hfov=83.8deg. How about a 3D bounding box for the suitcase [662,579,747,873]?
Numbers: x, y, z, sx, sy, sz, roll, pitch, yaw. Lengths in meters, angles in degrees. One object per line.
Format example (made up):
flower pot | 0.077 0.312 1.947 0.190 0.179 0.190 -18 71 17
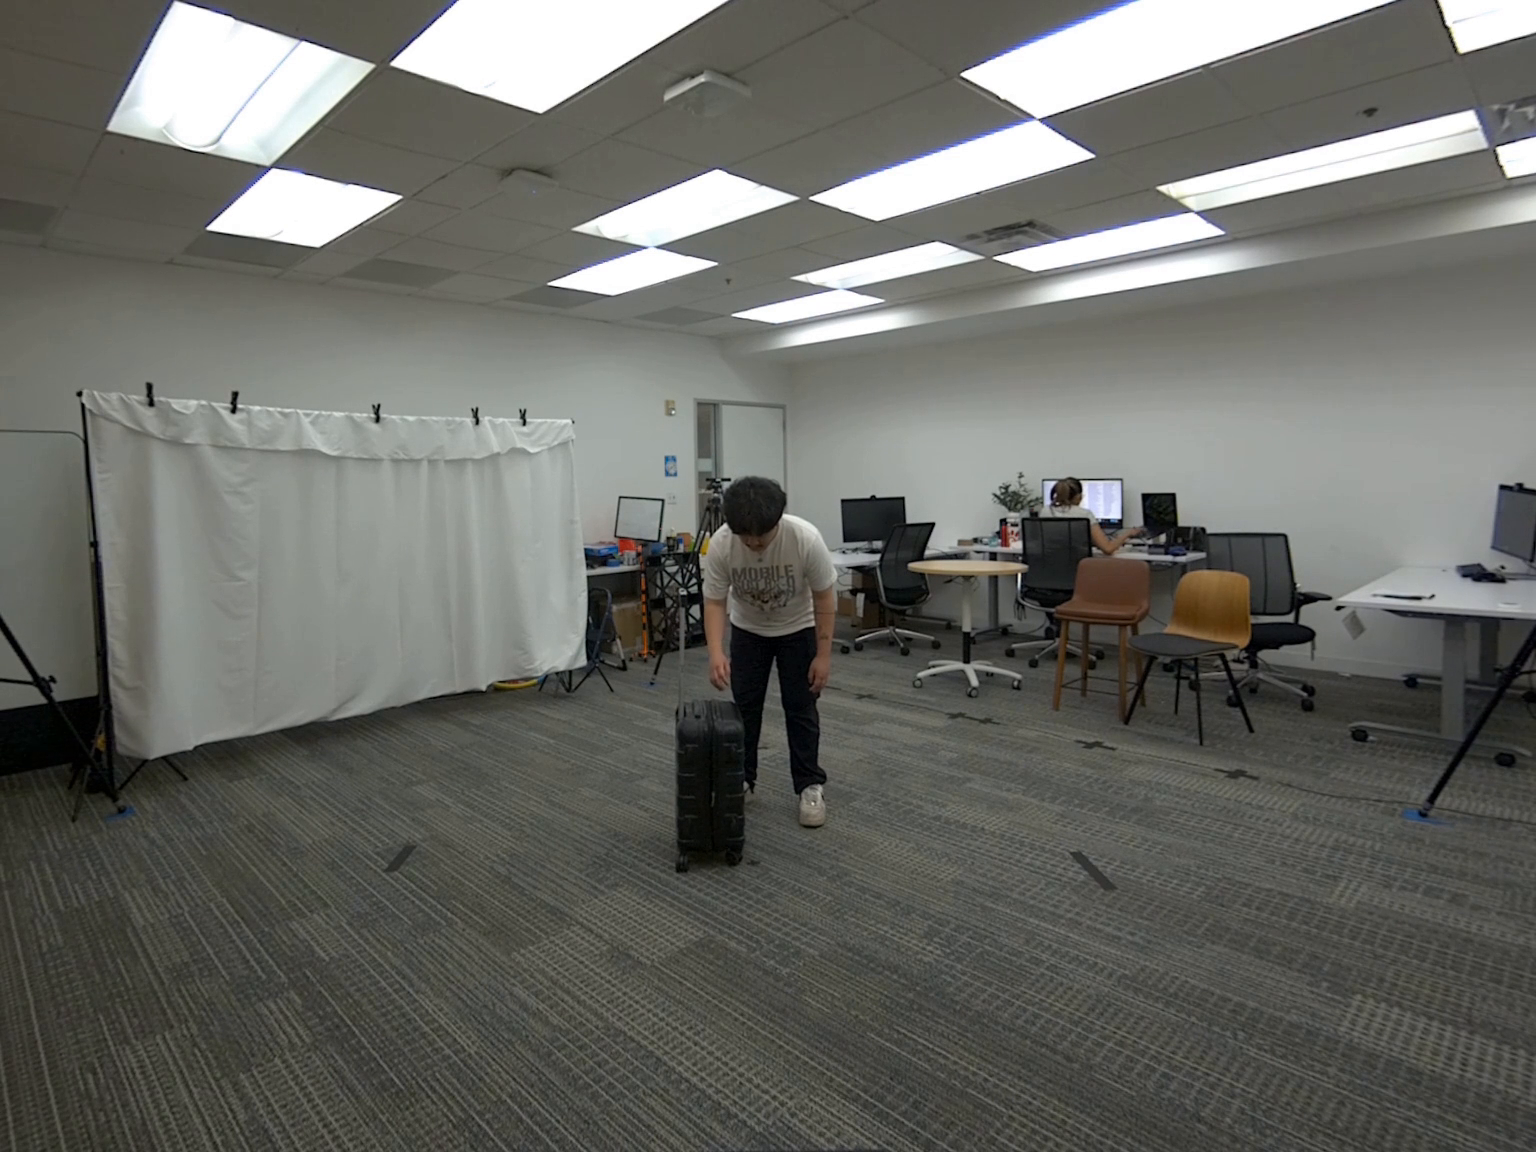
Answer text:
suitcase | -0.219 0.558 3.201 0.256 0.976 0.387 2 4 -5
